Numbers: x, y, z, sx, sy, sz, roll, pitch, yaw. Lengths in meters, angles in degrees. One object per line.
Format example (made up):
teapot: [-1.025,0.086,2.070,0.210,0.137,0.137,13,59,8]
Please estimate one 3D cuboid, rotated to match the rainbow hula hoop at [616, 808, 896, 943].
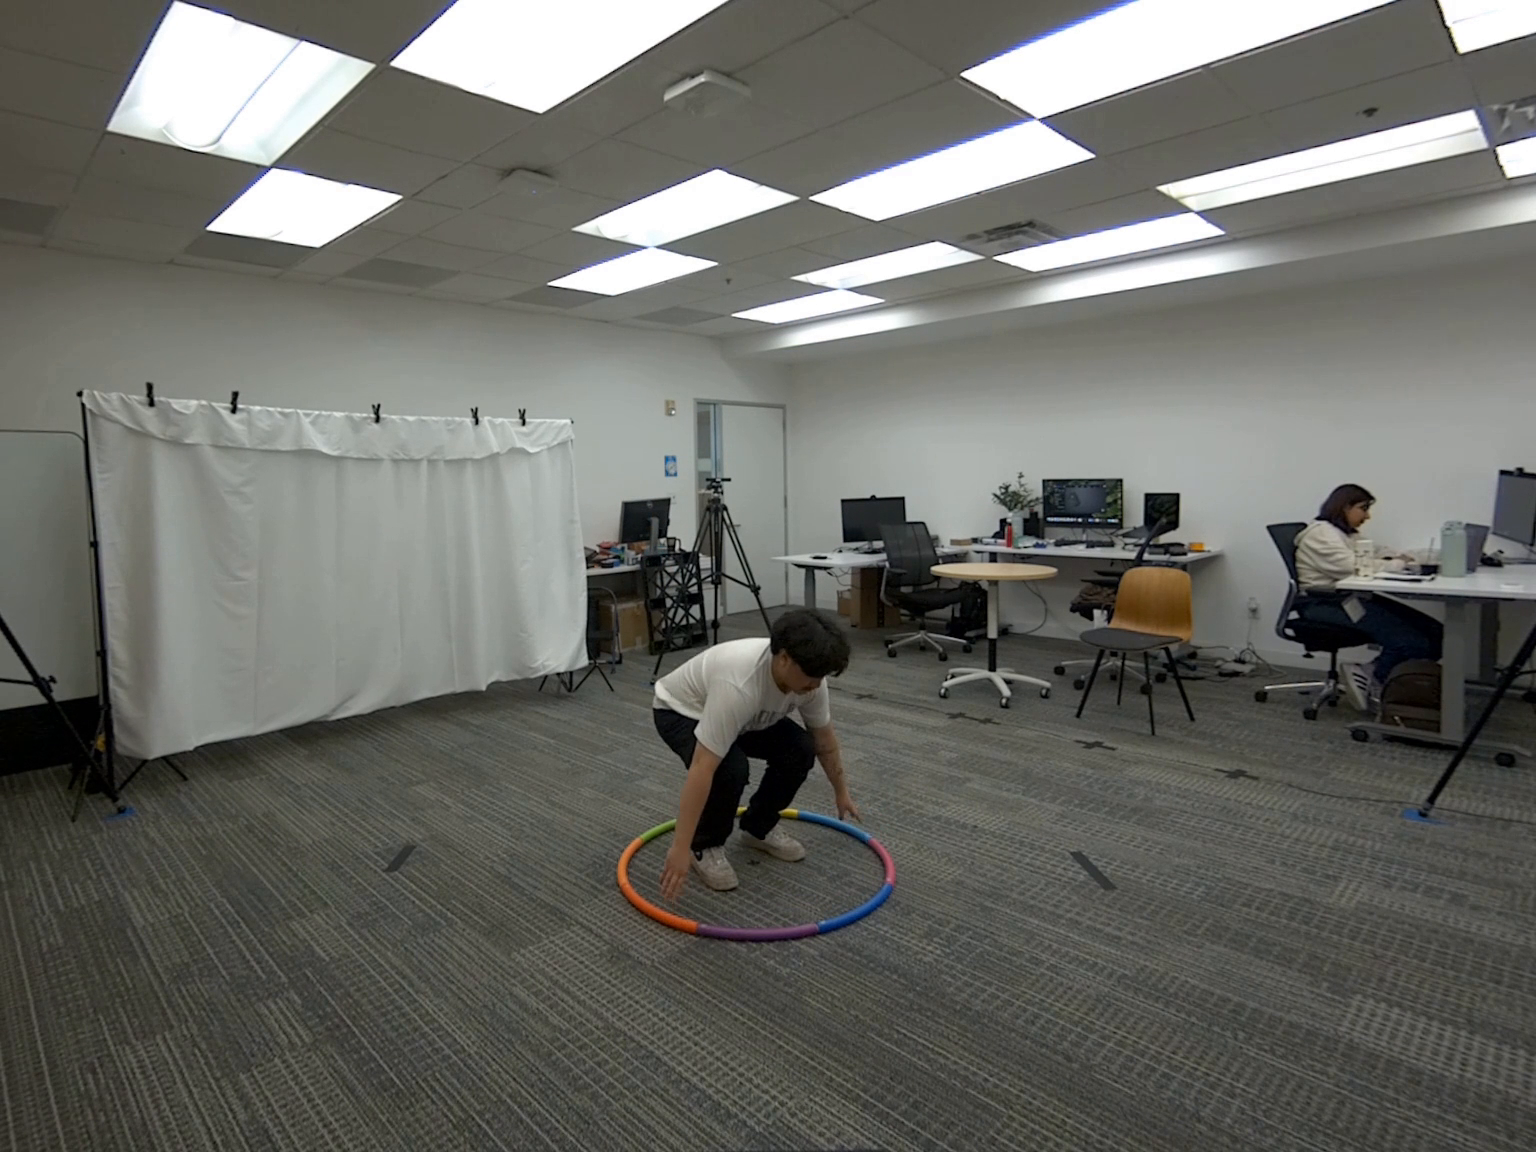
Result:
rainbow hula hoop: [-0.049,1.017,3.064,0.985,0.051,0.991,-1,6,-2]
